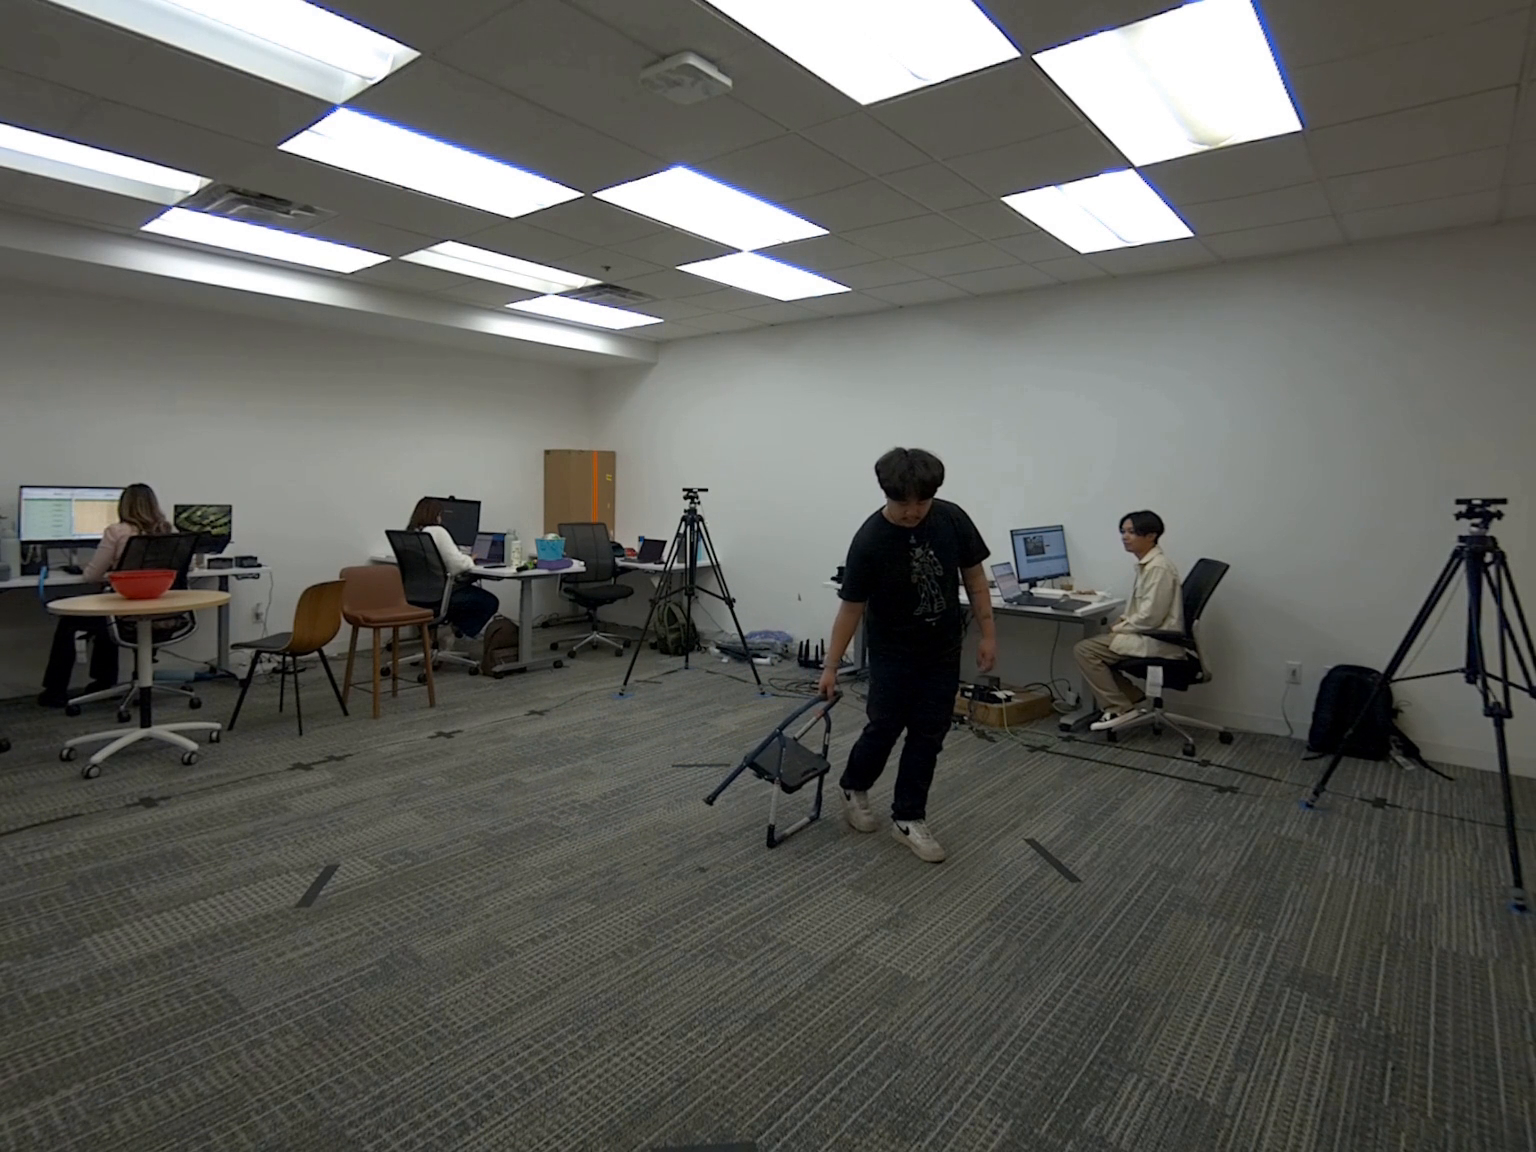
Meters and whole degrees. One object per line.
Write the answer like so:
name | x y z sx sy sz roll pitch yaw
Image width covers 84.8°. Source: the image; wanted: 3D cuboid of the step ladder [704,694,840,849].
step ladder | 0.061 0.699 3.483 0.362 0.601 0.419 28 17 28
